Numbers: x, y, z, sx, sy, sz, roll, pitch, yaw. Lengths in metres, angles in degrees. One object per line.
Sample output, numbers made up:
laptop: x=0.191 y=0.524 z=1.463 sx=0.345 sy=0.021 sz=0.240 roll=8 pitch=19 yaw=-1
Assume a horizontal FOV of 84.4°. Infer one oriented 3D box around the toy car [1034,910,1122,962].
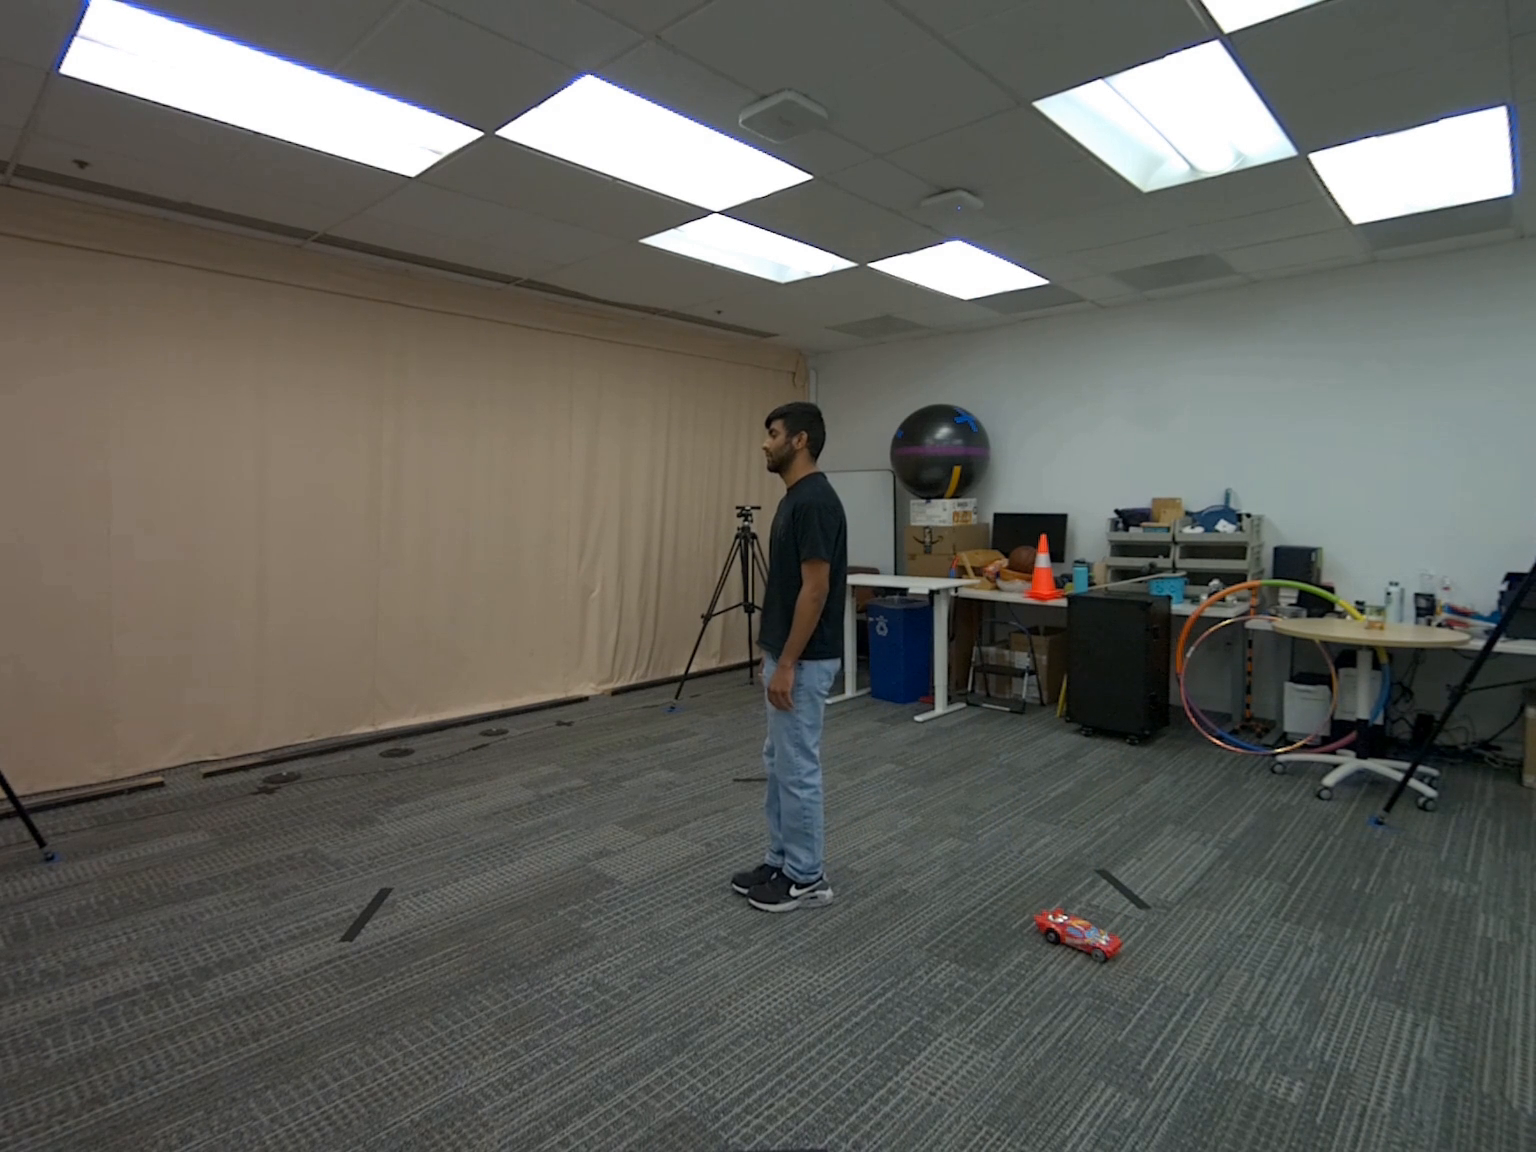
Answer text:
toy car: x=0.987 y=1.140 z=2.664 sx=0.126 sy=0.083 sz=0.264 roll=-5 pitch=17 yaw=-44
